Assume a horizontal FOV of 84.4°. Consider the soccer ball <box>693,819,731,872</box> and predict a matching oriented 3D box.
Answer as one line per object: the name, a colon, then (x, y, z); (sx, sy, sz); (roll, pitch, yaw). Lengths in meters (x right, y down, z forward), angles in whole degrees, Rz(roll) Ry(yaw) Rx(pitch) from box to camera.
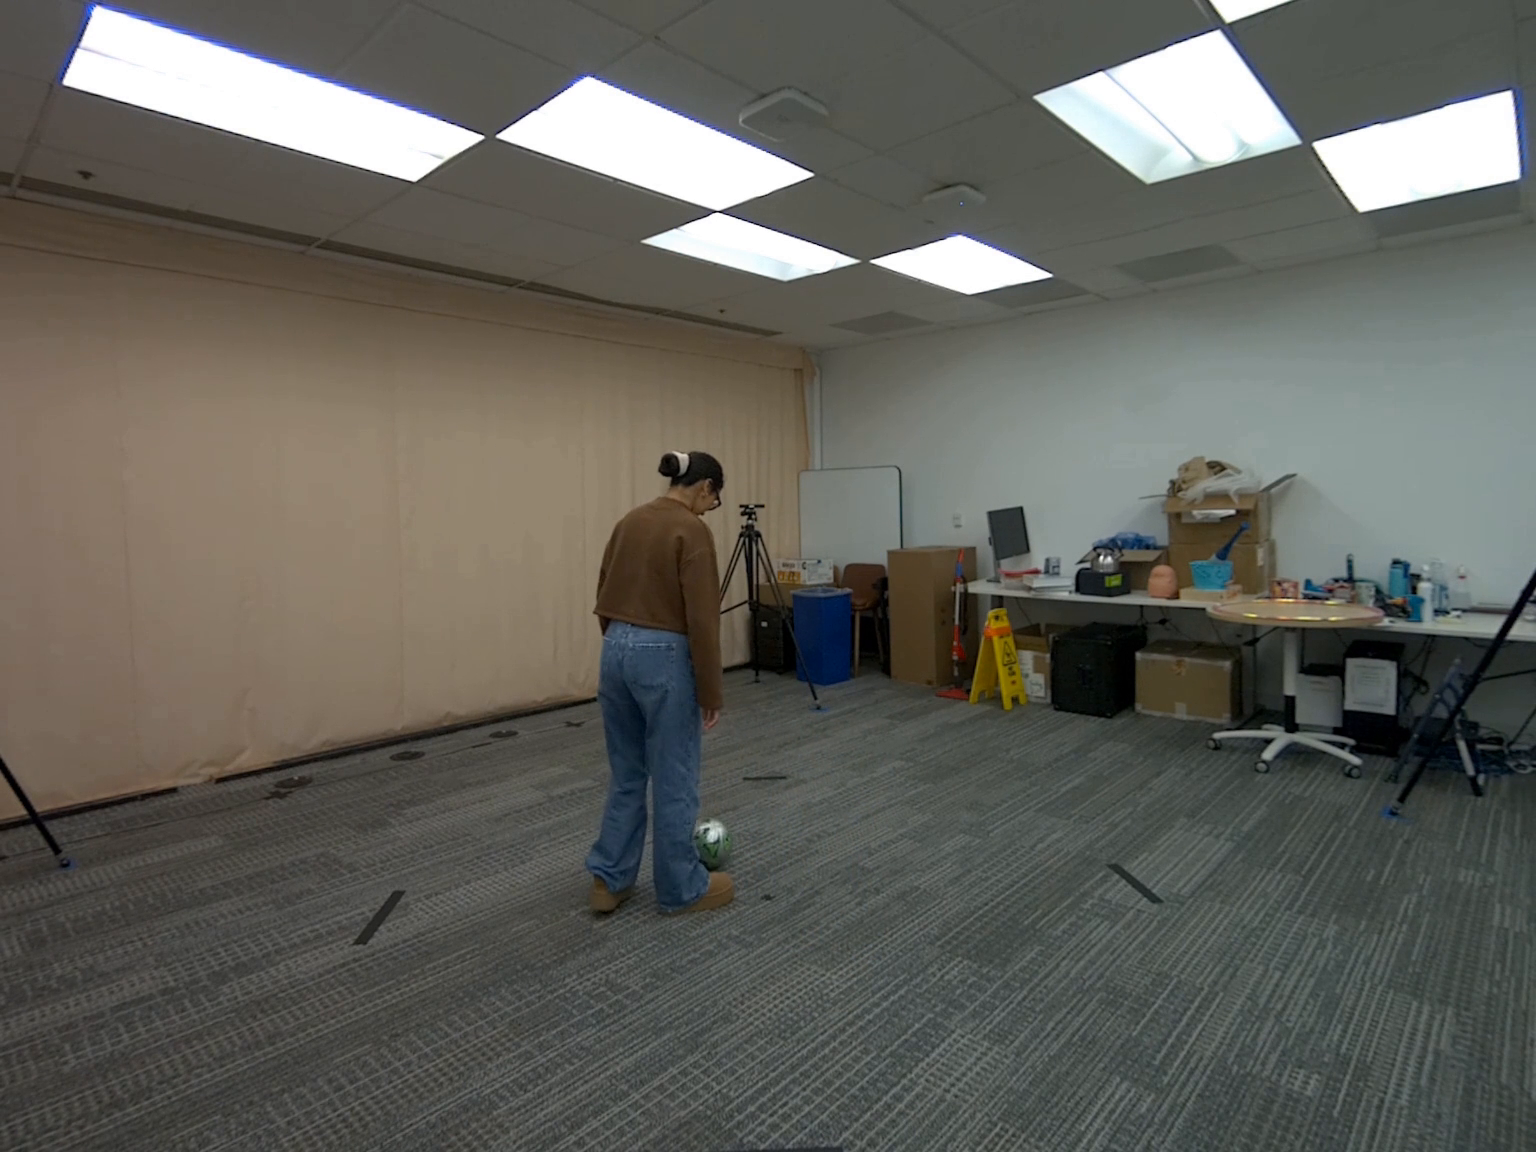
soccer ball: (-0.226, 1.027, 3.241); (0.187, 0.187, 0.188); (-1, 4, -2)
